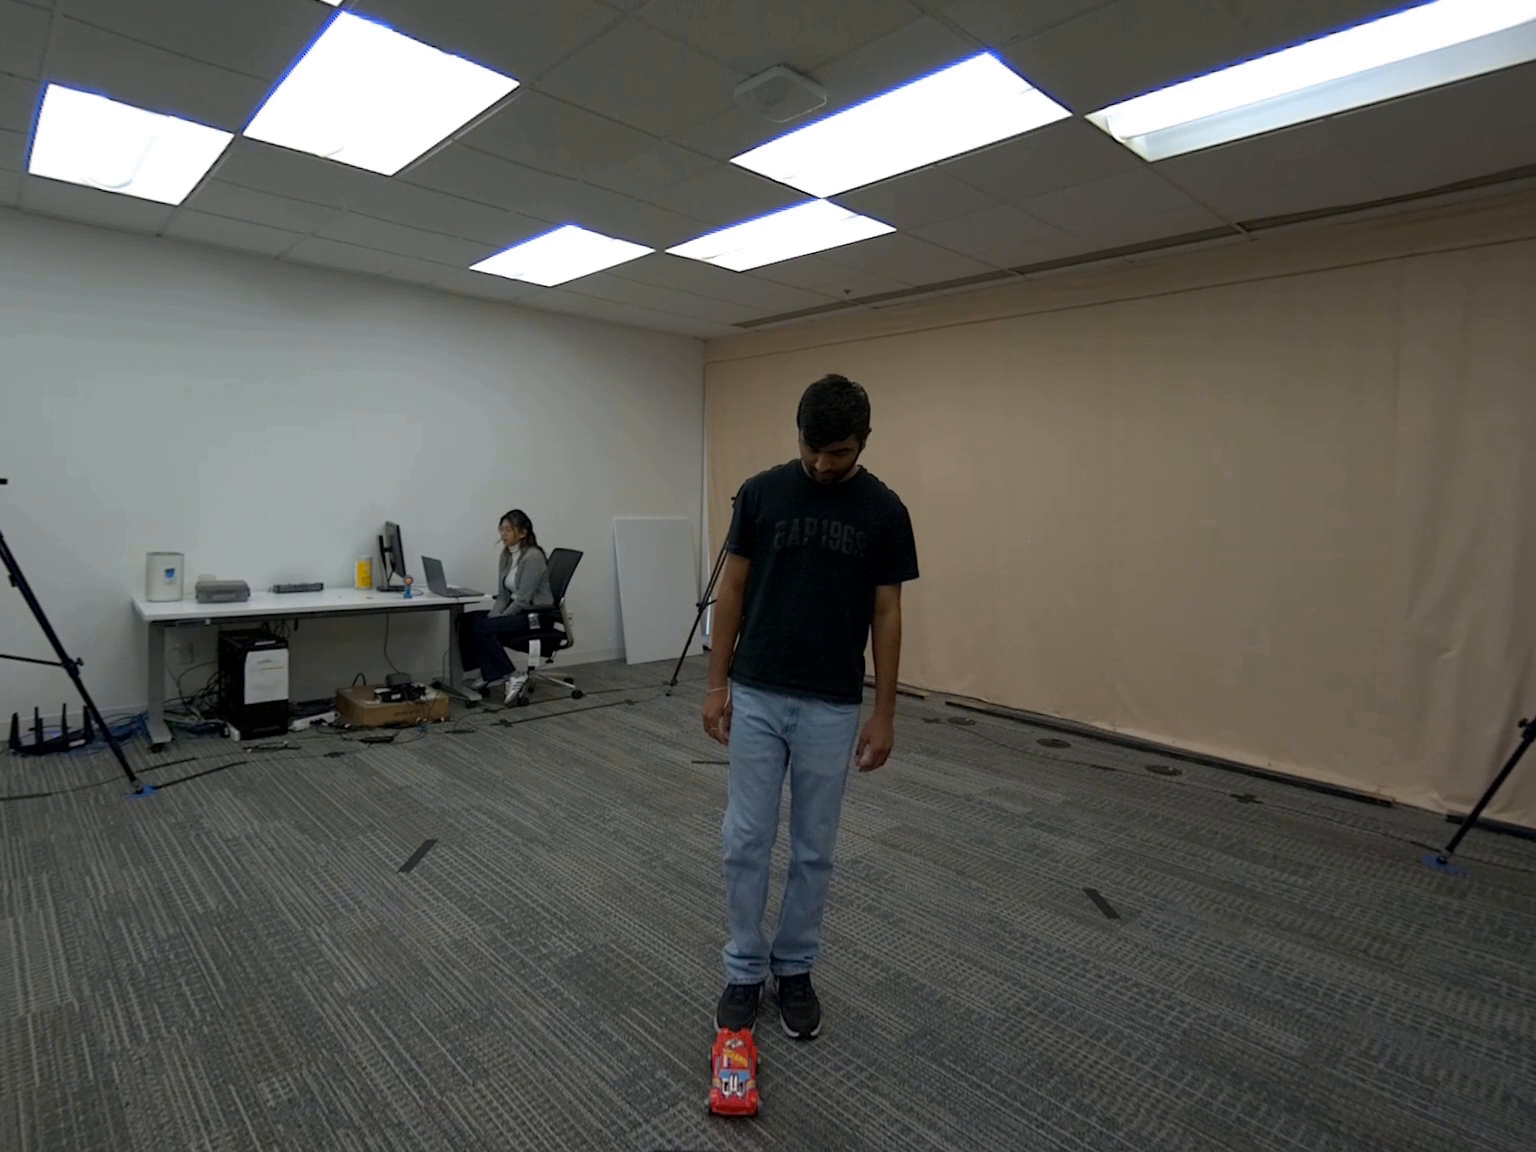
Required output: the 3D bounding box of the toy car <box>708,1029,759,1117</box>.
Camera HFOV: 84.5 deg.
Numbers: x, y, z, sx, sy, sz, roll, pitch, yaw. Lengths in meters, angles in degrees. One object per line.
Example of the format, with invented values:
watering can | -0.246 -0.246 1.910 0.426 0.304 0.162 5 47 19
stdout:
toy car | -0.090 1.182 1.993 0.130 0.082 0.257 1 17 1
